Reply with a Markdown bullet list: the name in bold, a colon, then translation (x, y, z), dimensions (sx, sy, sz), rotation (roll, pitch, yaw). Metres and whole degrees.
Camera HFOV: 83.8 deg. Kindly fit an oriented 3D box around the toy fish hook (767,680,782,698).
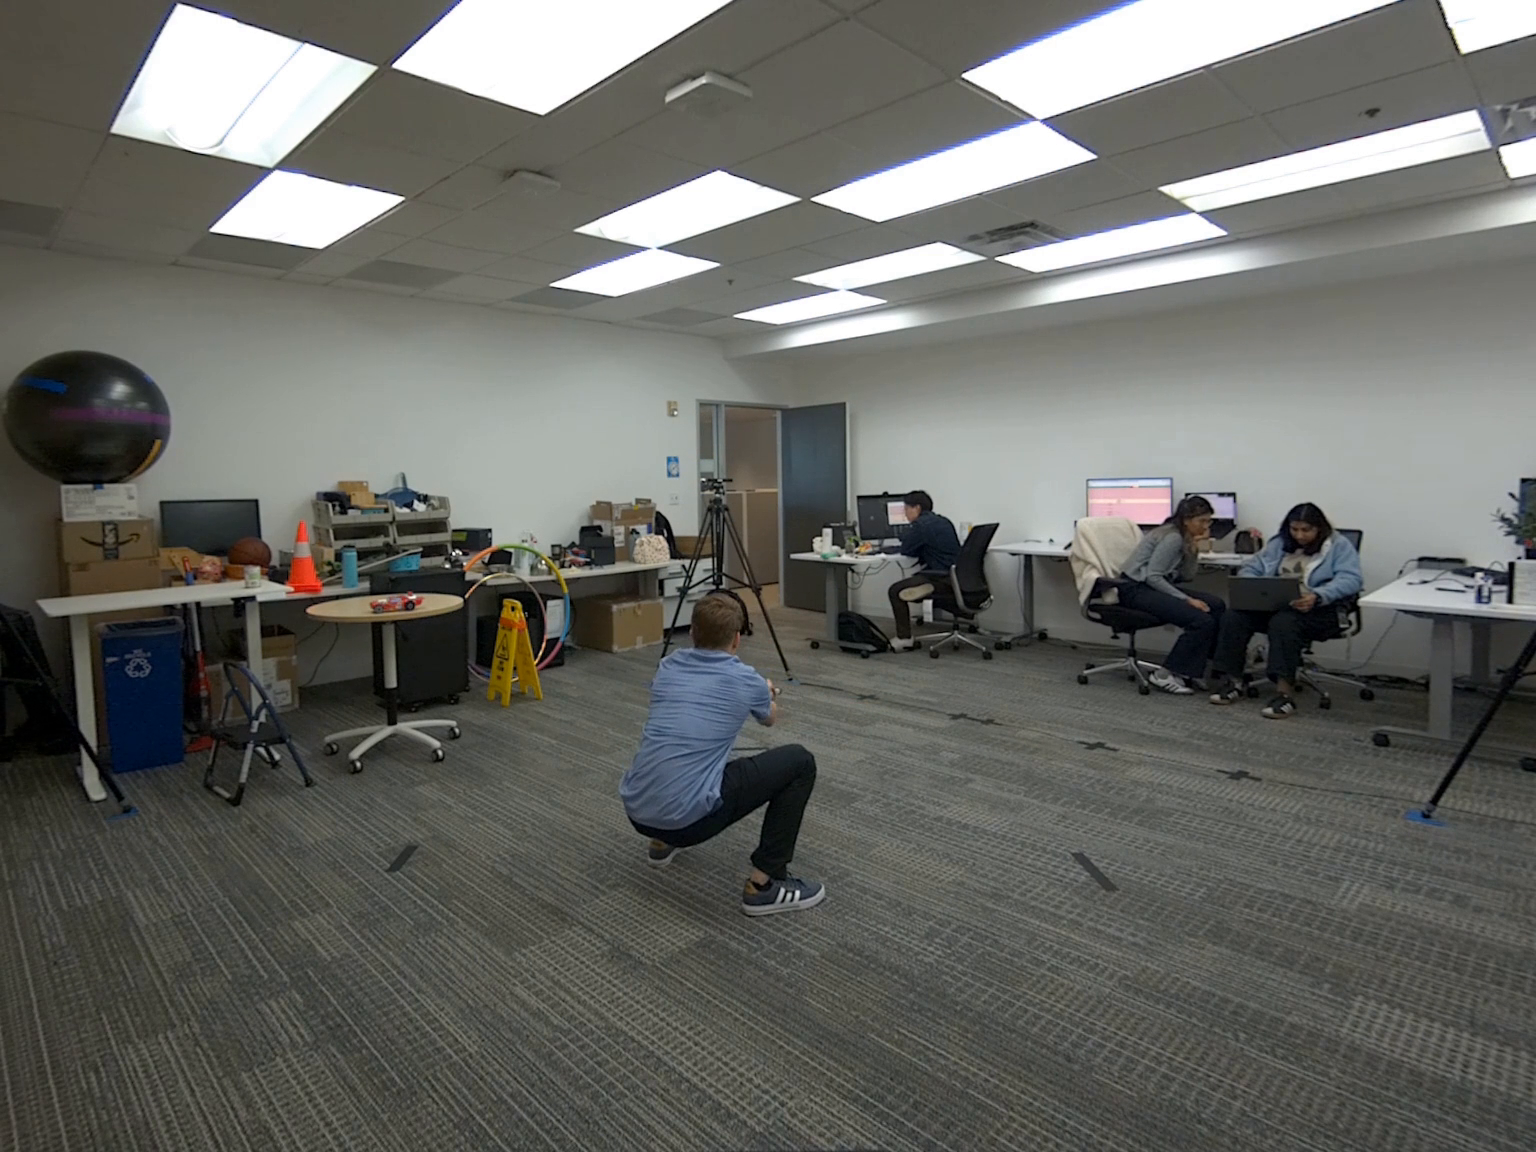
- **toy fish hook**: translation (-0.158, 0.441, 3.686), dimensions (0.518, 0.048, 0.222), rotation (9, 18, 22)
